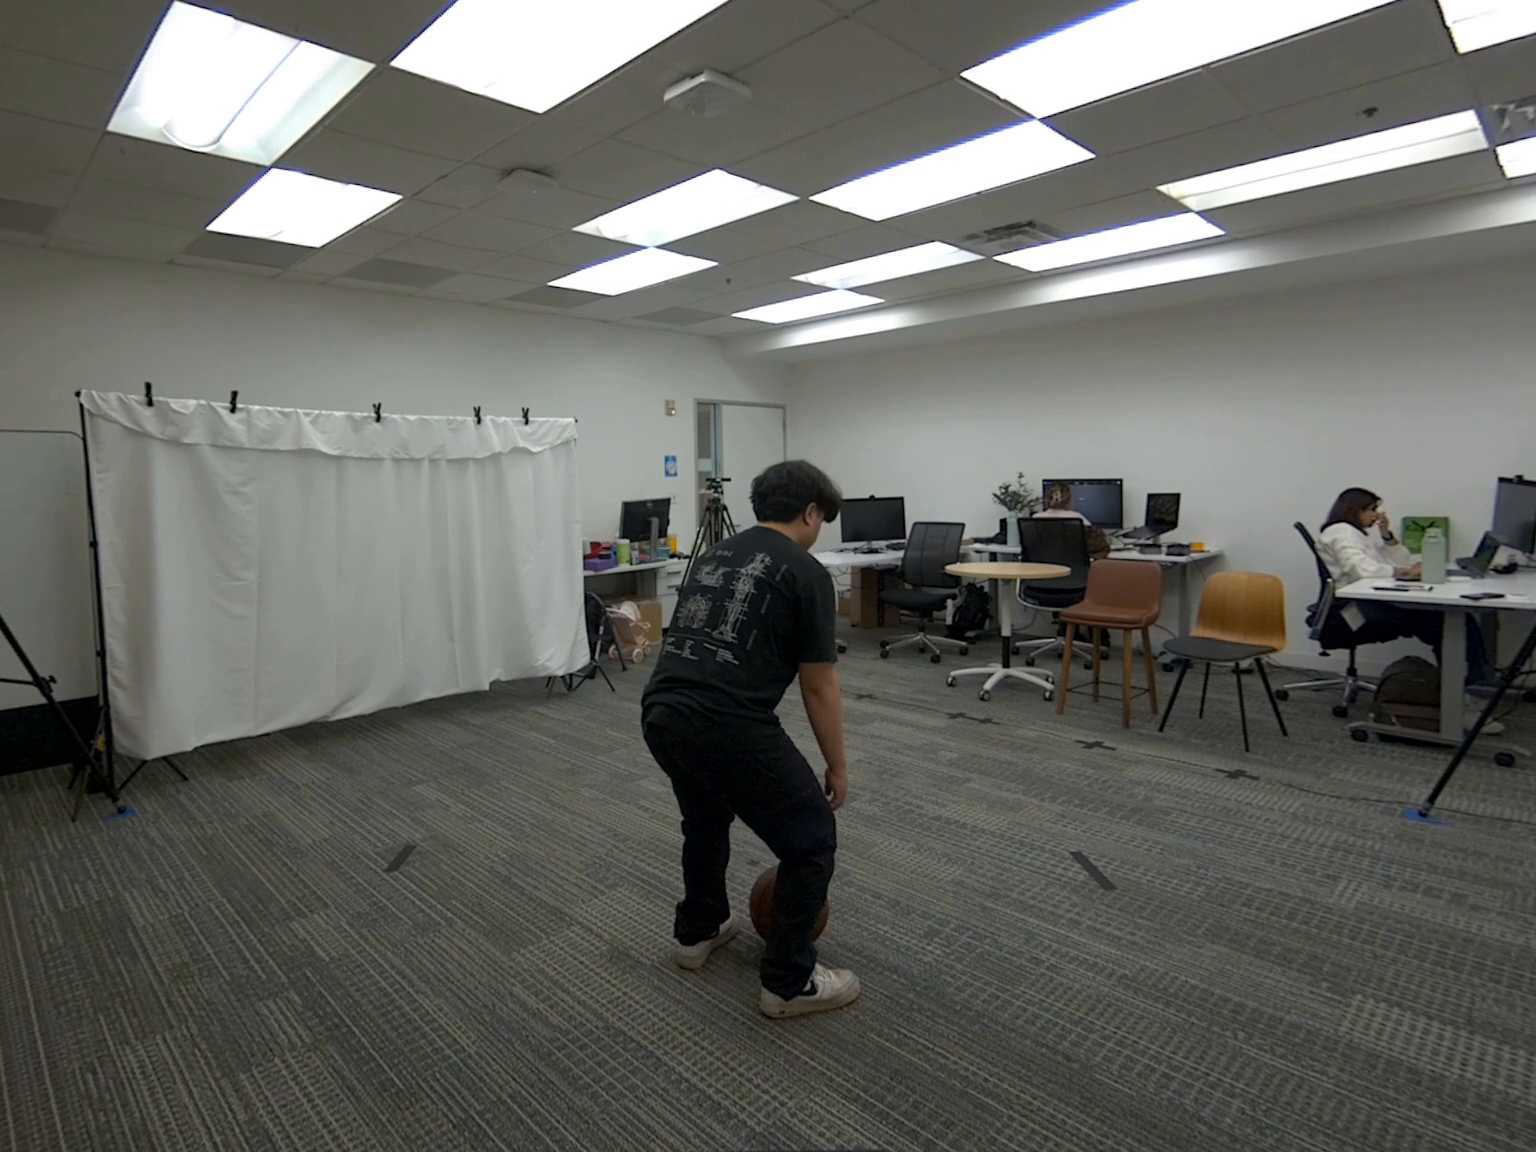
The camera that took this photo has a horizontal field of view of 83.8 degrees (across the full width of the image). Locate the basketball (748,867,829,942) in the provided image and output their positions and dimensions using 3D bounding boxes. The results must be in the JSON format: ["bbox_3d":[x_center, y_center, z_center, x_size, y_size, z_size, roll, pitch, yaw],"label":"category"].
[{"bbox_3d":[0.062,0.984,2.559,0.236,0.235,0.237,-1,5,-2],"label":"basketball"}]
